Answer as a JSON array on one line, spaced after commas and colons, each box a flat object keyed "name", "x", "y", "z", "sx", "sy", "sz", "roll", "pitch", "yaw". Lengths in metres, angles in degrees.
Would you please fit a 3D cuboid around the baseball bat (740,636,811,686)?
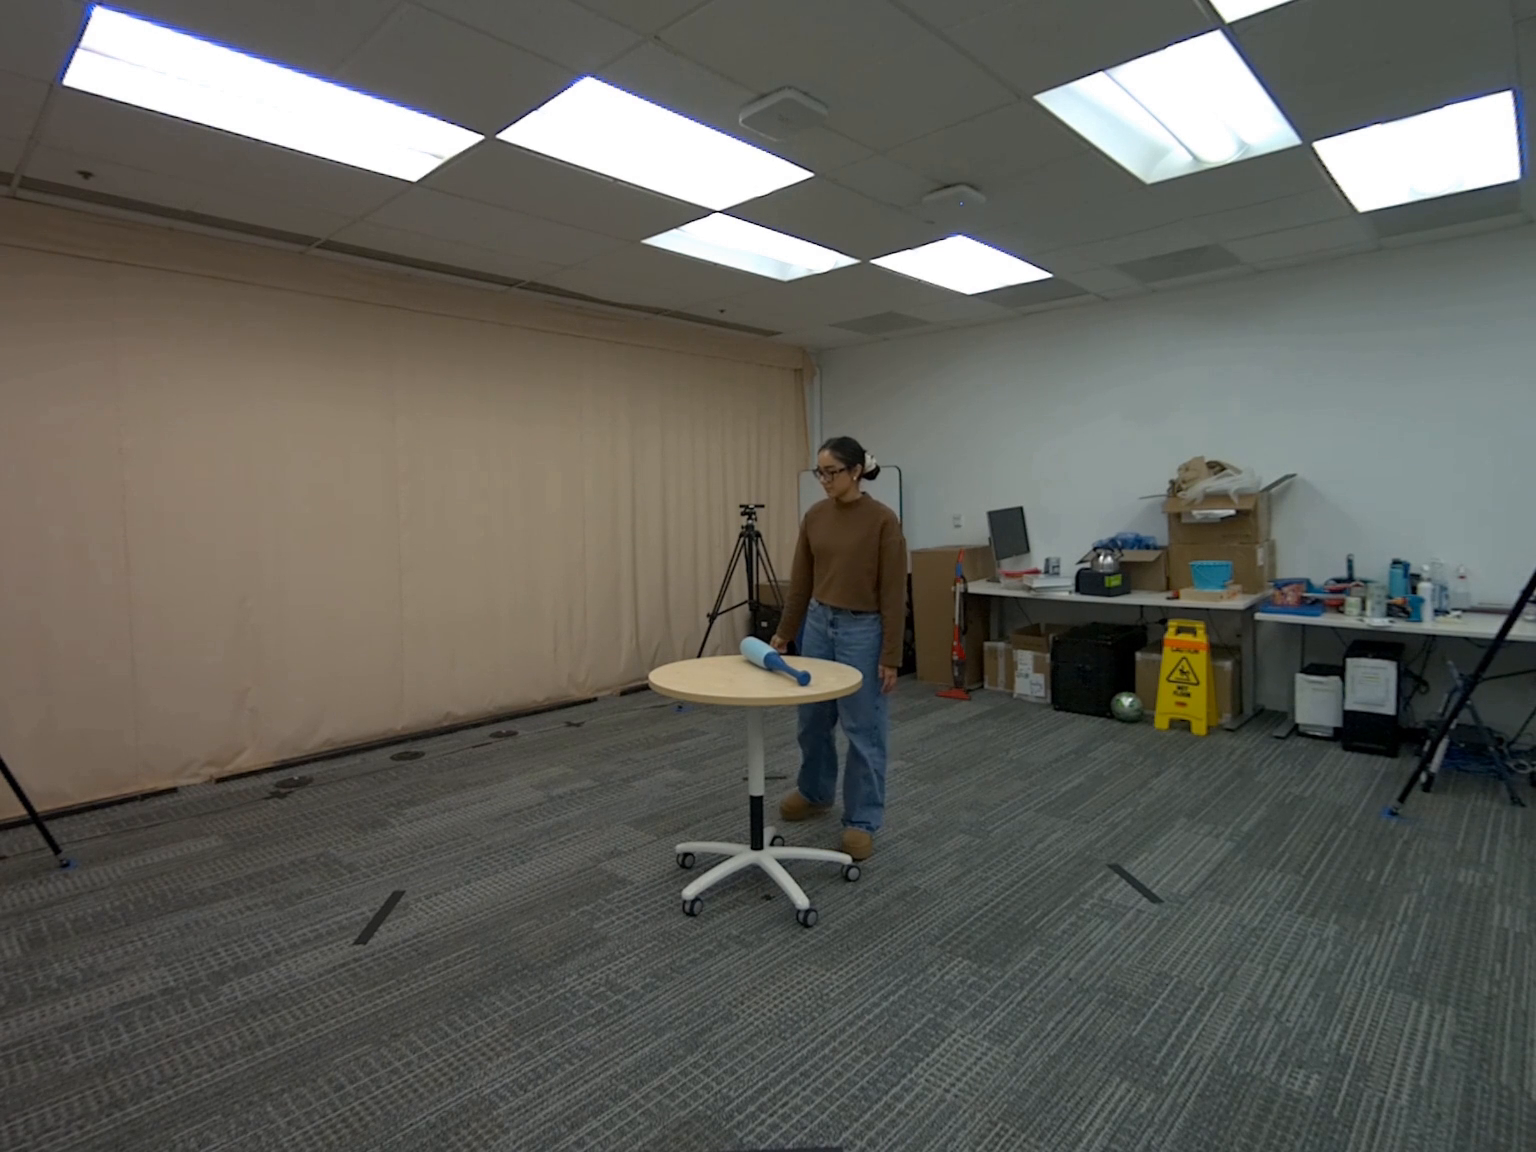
[{"name": "baseball bat", "x": 0.030, "y": 0.313, "z": 3.063, "sx": 0.087, "sy": 0.088, "sz": 0.556, "roll": -2, "pitch": 8, "yaw": -21}]
